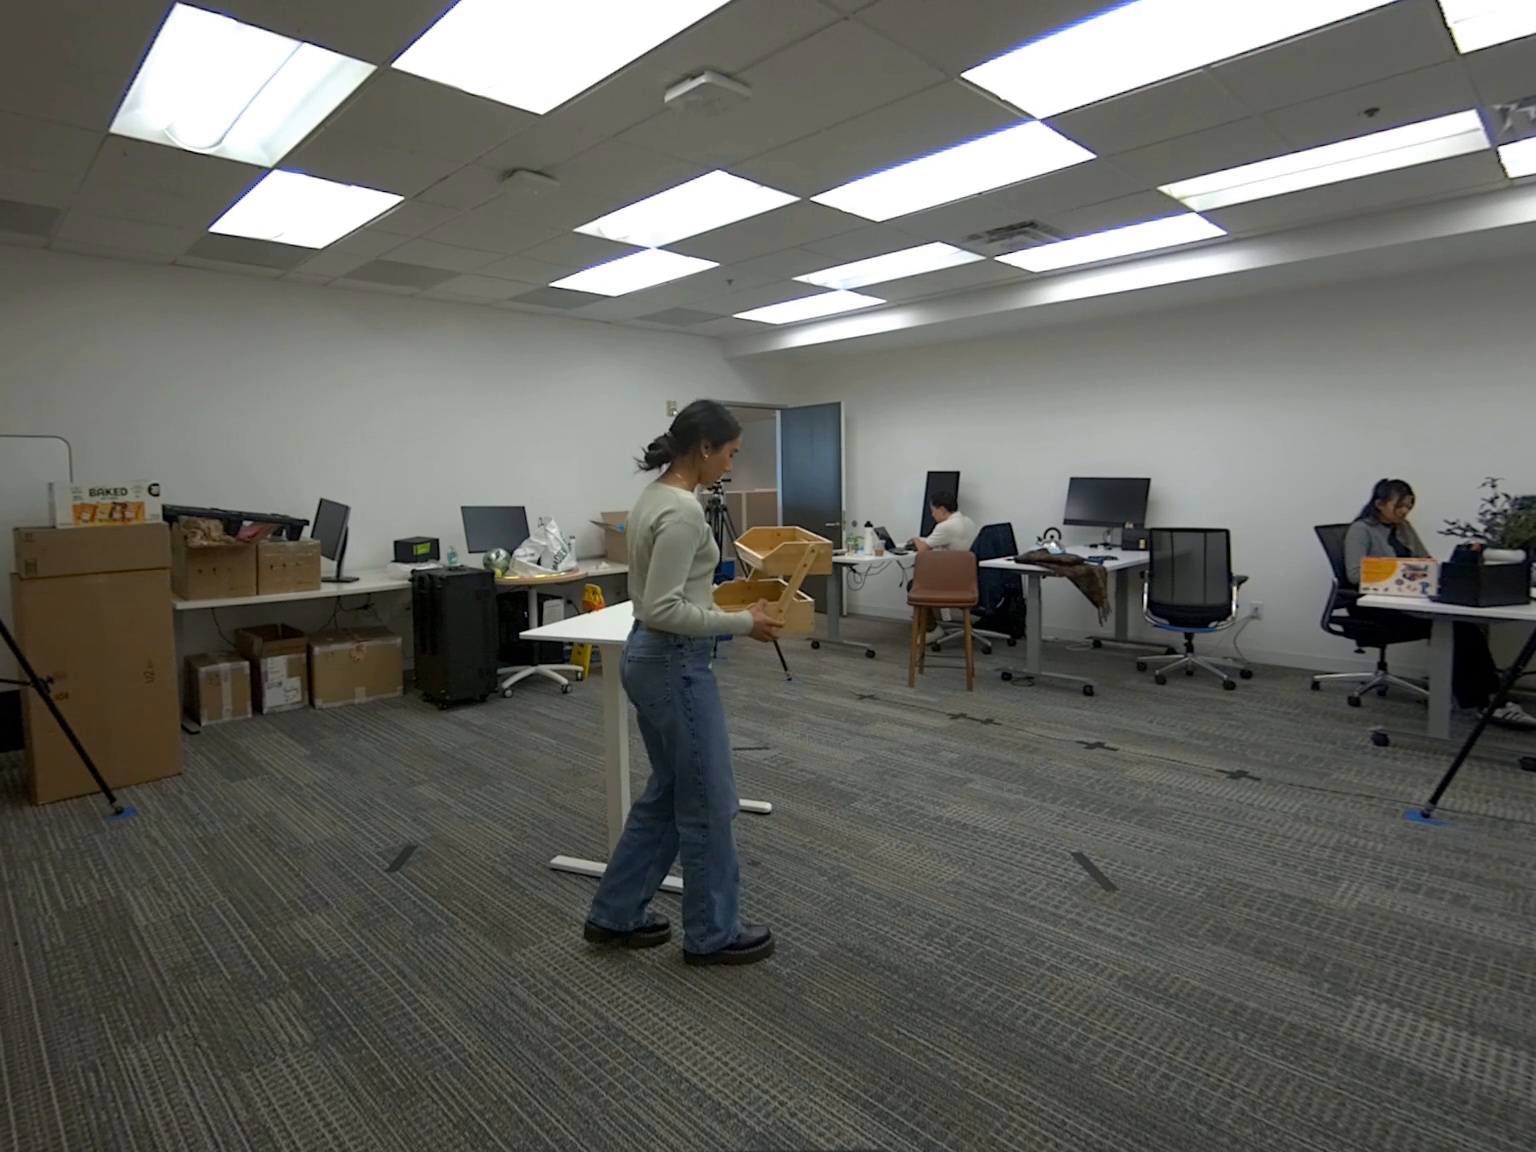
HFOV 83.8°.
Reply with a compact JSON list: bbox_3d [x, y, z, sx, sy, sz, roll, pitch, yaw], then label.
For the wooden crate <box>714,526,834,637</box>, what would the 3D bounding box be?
[{"bbox_3d":[-0.018,0.003,2.542,0.297,0.271,0.332,-2,11,-18],"label":"wooden crate"}]
